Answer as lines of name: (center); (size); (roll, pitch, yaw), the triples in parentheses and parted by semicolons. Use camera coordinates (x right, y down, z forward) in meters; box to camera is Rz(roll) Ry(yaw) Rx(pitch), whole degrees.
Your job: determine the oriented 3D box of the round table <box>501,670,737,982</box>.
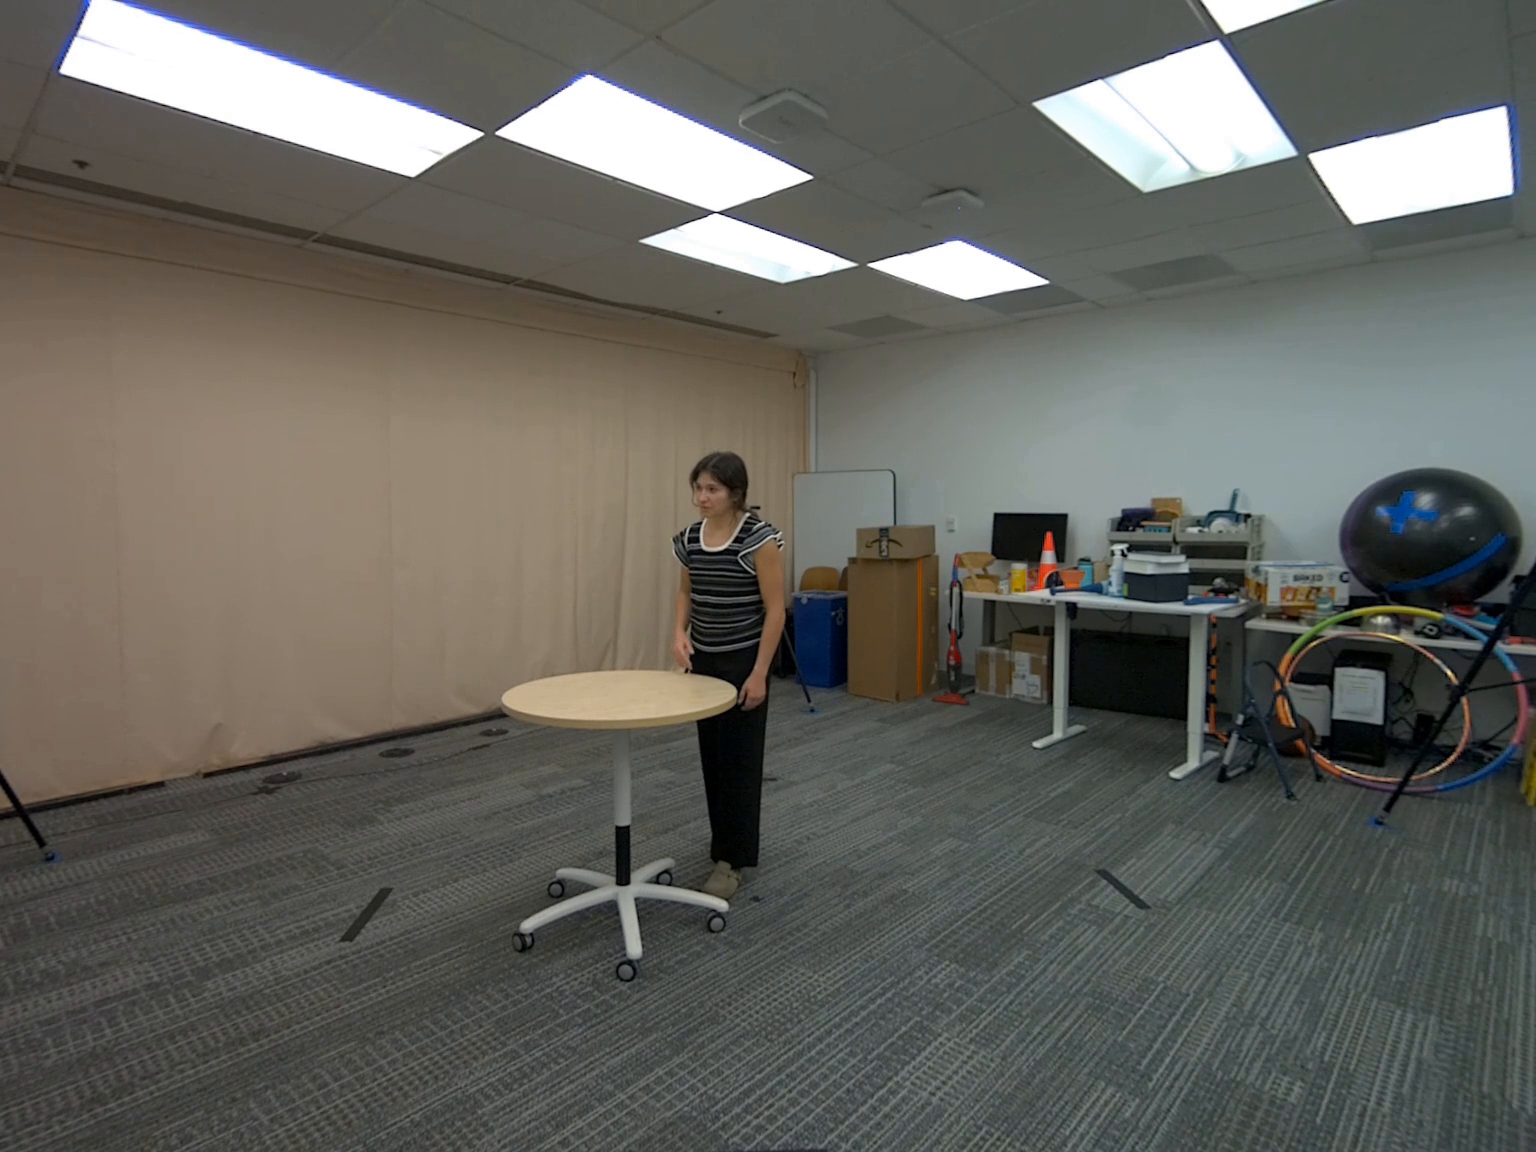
round table: (-0.486, 0.778, 2.781); (0.763, 0.792, 0.766); (-1, 3, -2)
